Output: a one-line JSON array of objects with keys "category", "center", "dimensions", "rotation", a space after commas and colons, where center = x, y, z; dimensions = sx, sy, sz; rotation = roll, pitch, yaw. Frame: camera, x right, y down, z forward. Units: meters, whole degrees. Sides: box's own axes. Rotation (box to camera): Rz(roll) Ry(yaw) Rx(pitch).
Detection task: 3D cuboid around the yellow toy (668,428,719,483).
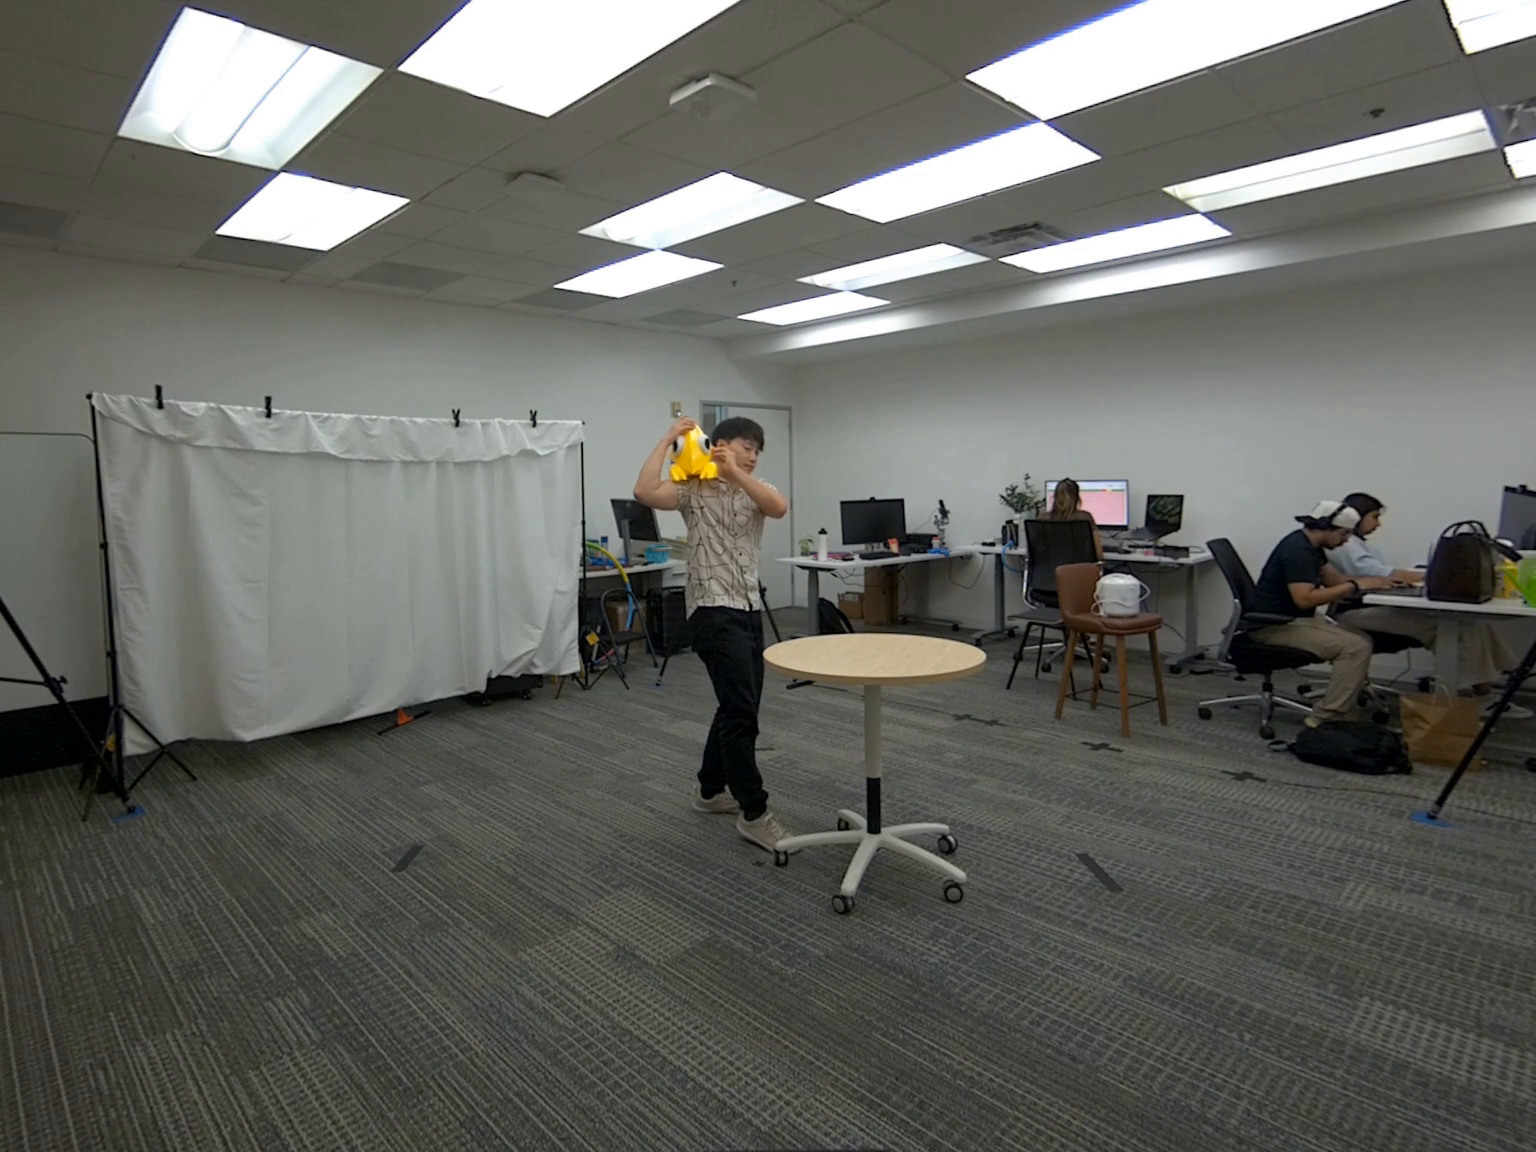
[{"category": "yellow toy", "center": [-0.304, -0.506, 3.413], "dimensions": [0.205, 0.228, 0.195], "rotation": [-1, 12, -1]}]
